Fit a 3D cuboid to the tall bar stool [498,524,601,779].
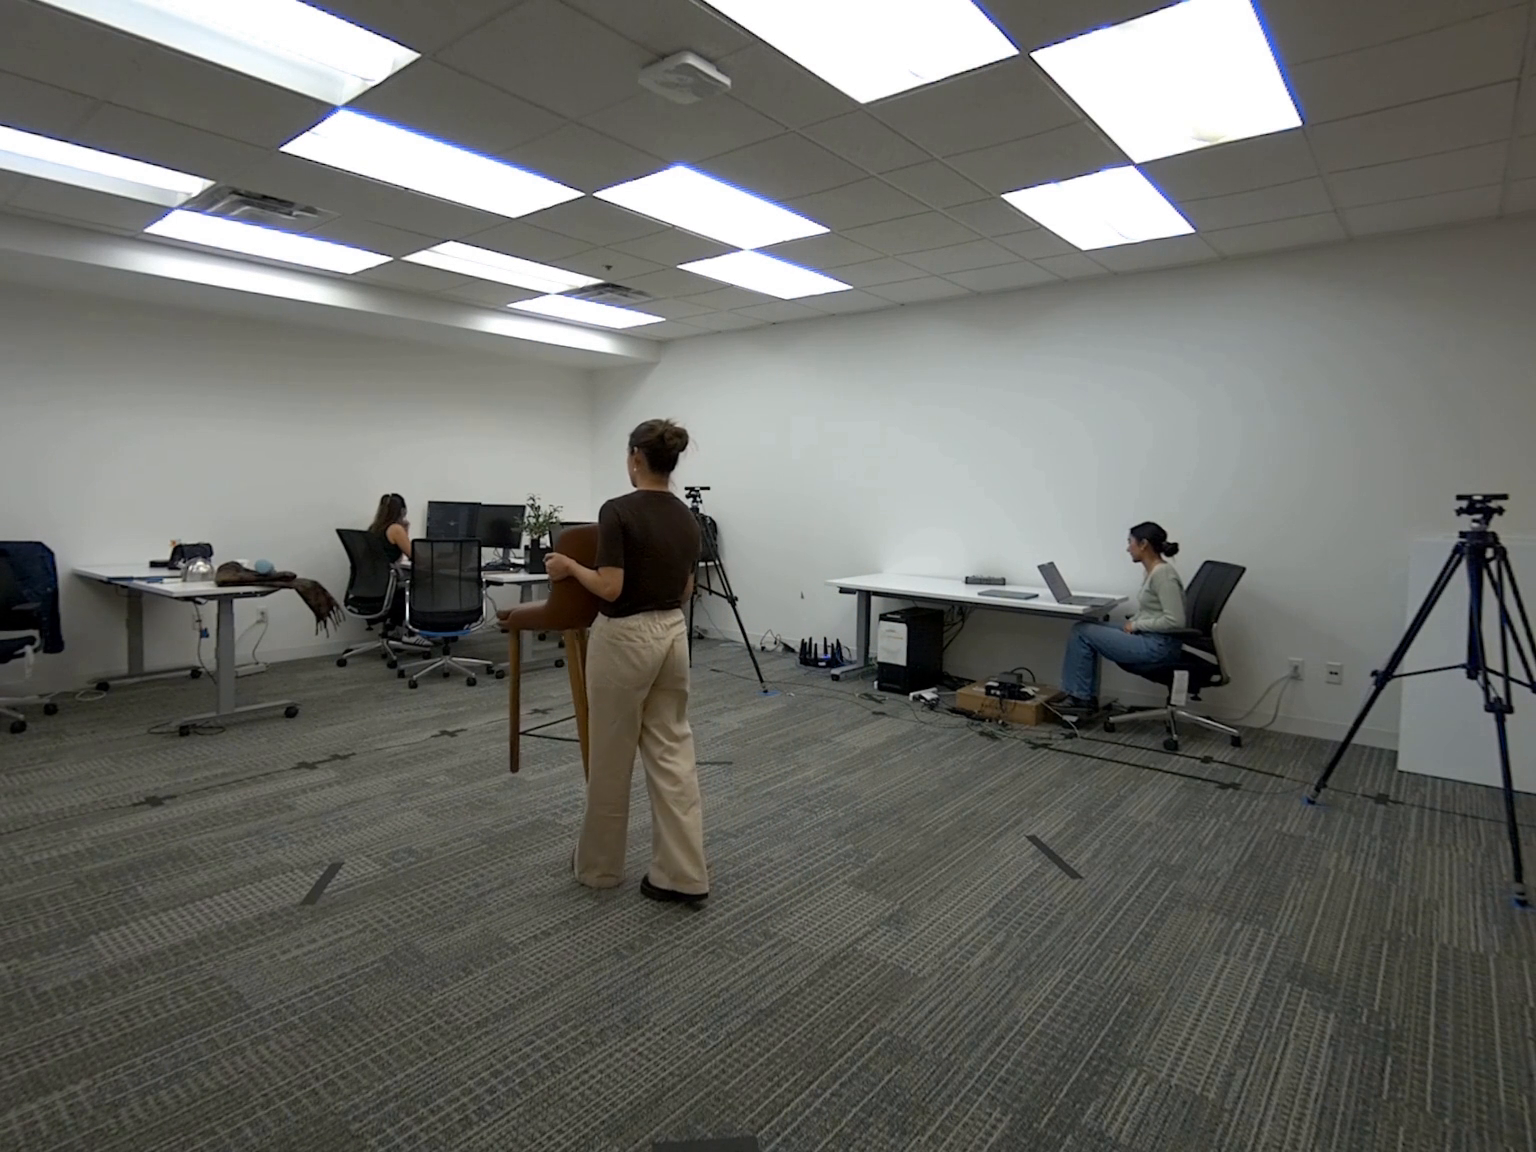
[{"bbox_3d":[-0.719,0.263,3.140,0.482,0.888,0.444,-3,3,41],"label":"tall bar stool"}]
